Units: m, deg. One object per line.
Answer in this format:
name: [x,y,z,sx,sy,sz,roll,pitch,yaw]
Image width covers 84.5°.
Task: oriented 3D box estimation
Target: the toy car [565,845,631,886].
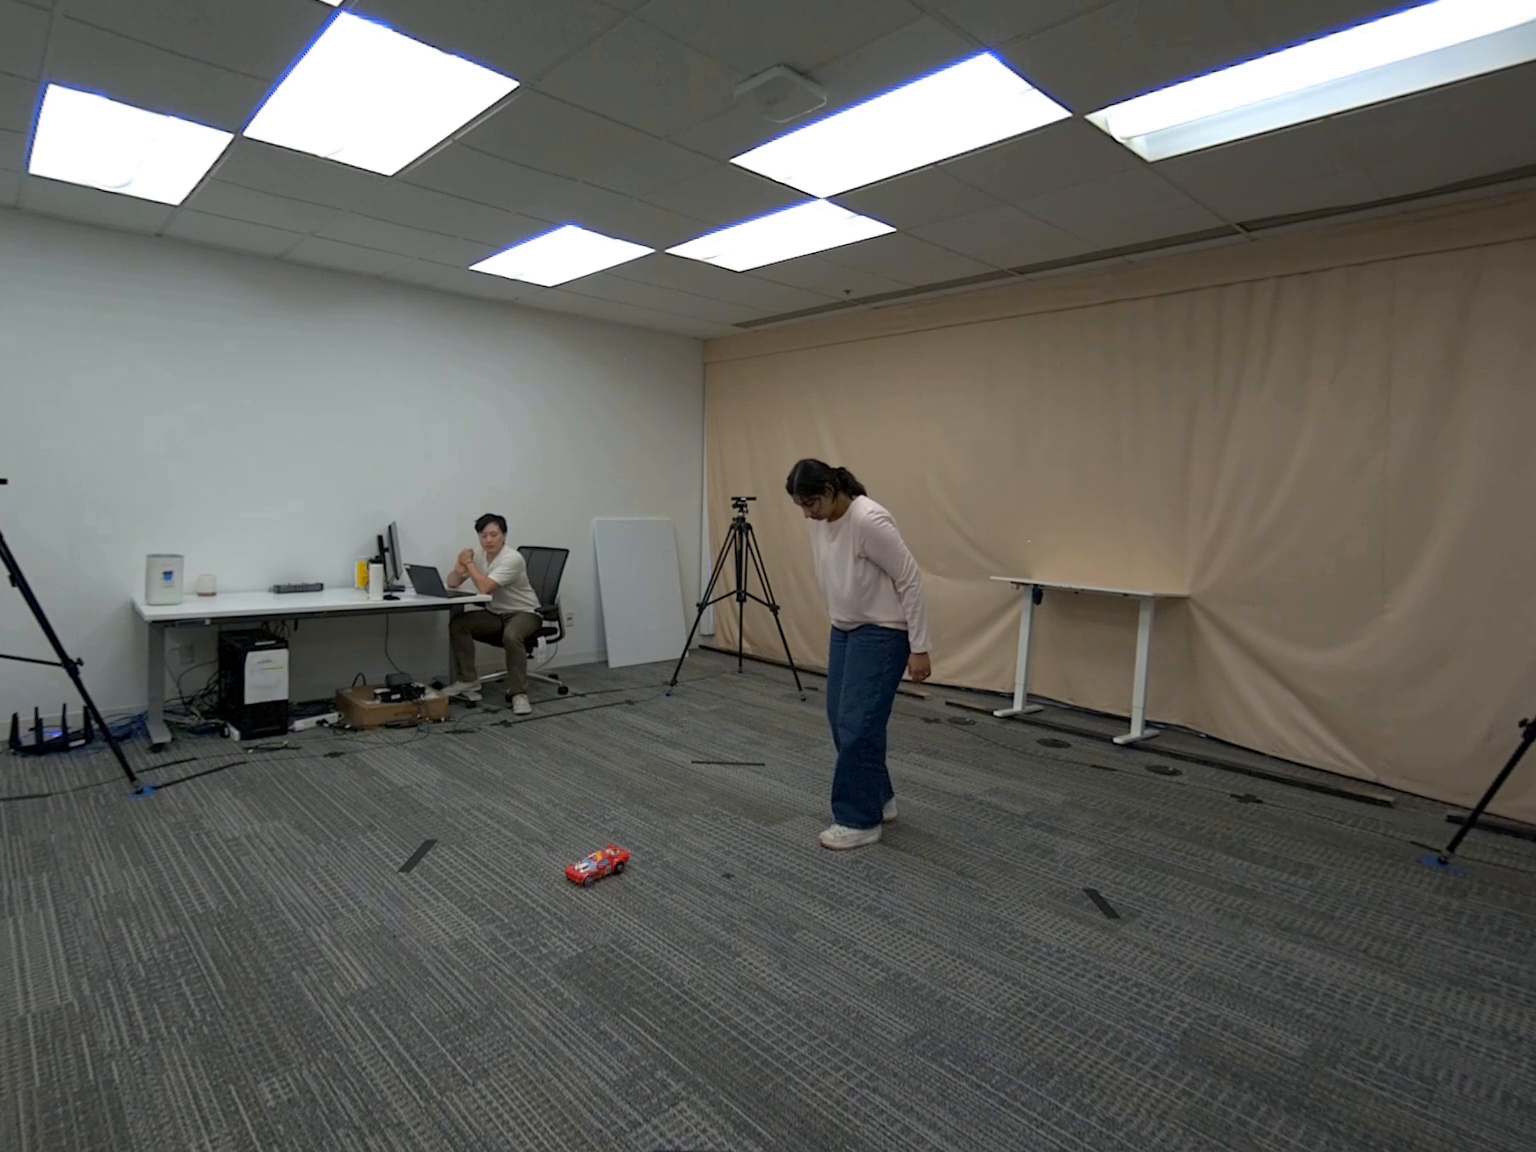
toy car: [-0.629,1.065,3.091,0.133,0.082,0.251,5,17,39]
